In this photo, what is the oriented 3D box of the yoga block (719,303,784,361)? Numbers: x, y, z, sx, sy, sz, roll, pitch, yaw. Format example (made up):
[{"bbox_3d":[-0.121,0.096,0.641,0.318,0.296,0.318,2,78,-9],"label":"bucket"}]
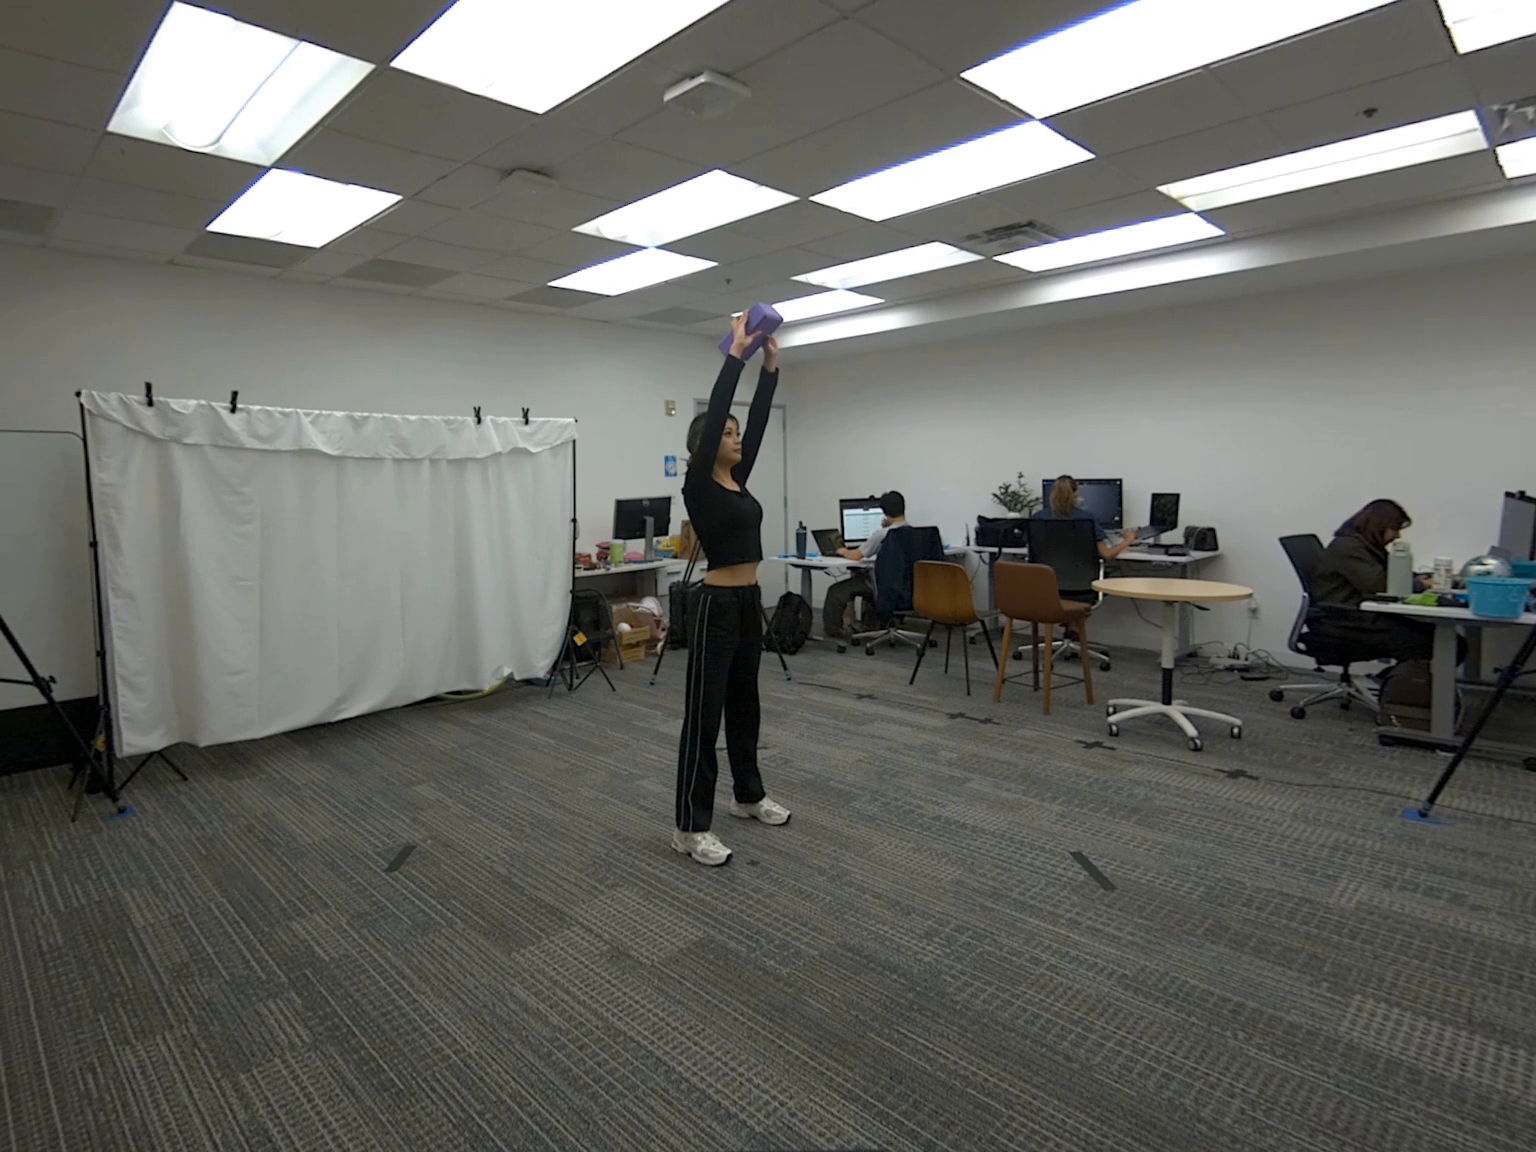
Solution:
[{"bbox_3d":[-0.054,-0.911,3.202,0.230,0.078,0.146,-42,-13,28],"label":"yoga block"}]
